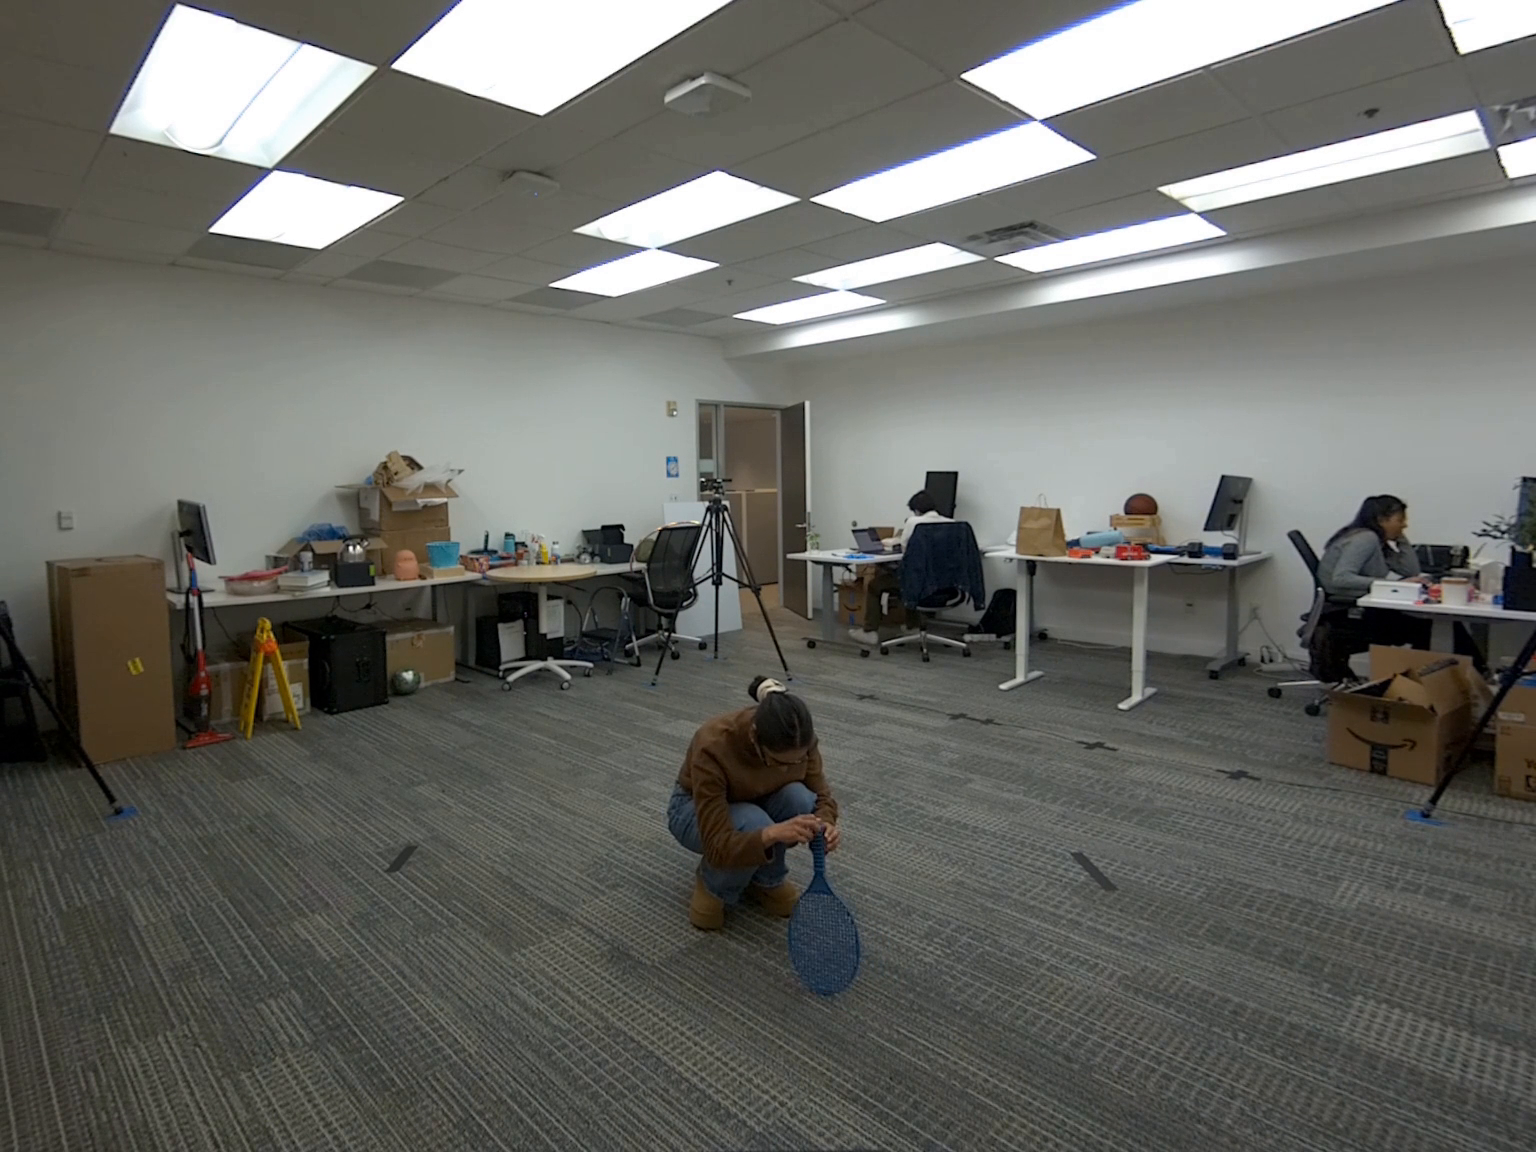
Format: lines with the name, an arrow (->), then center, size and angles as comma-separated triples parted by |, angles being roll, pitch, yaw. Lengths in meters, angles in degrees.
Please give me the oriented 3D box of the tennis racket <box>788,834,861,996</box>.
tennis racket -> 0.141, 0.918, 2.360 | 0.218, 0.439, 0.031 | -14, -15, 31
